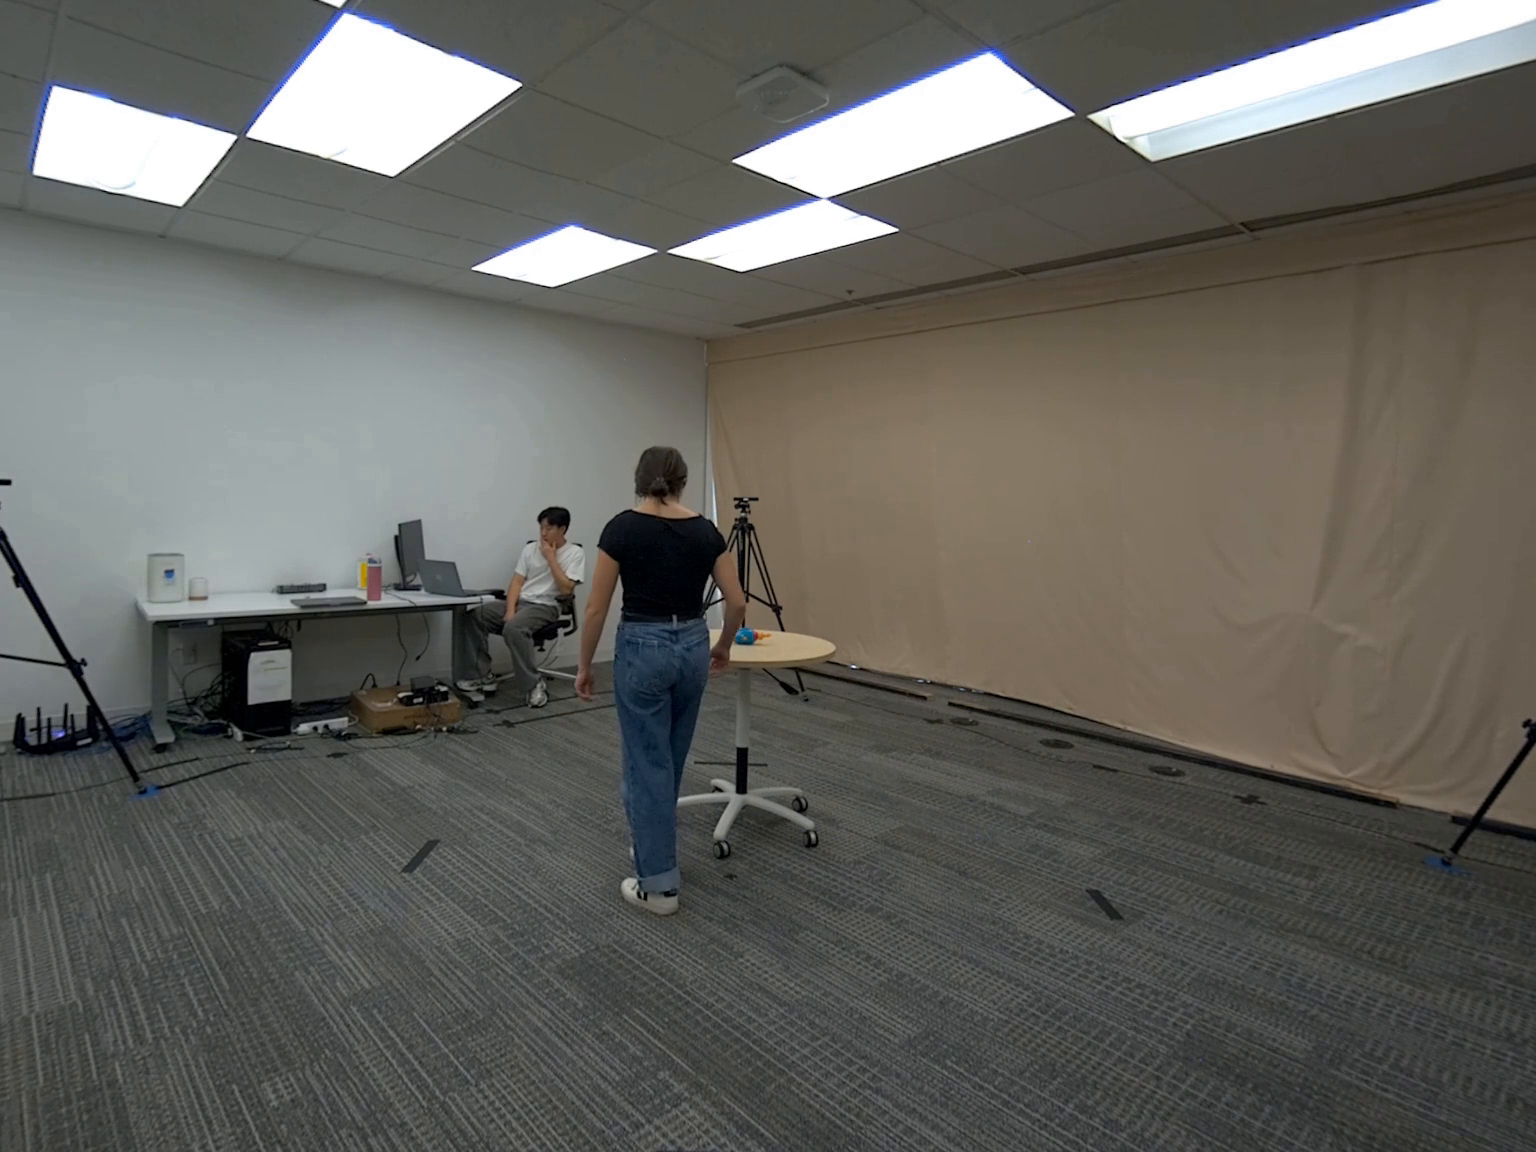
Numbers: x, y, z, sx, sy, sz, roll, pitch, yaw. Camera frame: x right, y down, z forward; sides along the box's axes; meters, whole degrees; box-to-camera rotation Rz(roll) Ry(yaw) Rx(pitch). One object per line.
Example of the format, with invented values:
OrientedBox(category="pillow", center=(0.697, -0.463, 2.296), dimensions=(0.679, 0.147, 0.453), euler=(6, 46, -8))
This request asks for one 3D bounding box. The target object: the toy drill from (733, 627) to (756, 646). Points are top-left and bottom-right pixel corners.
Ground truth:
OrientedBox(category="toy drill", center=(-0.075, 0.255, 3.582), dimensions=(0.170, 0.061, 0.146), euler=(-7, 3, 5))
